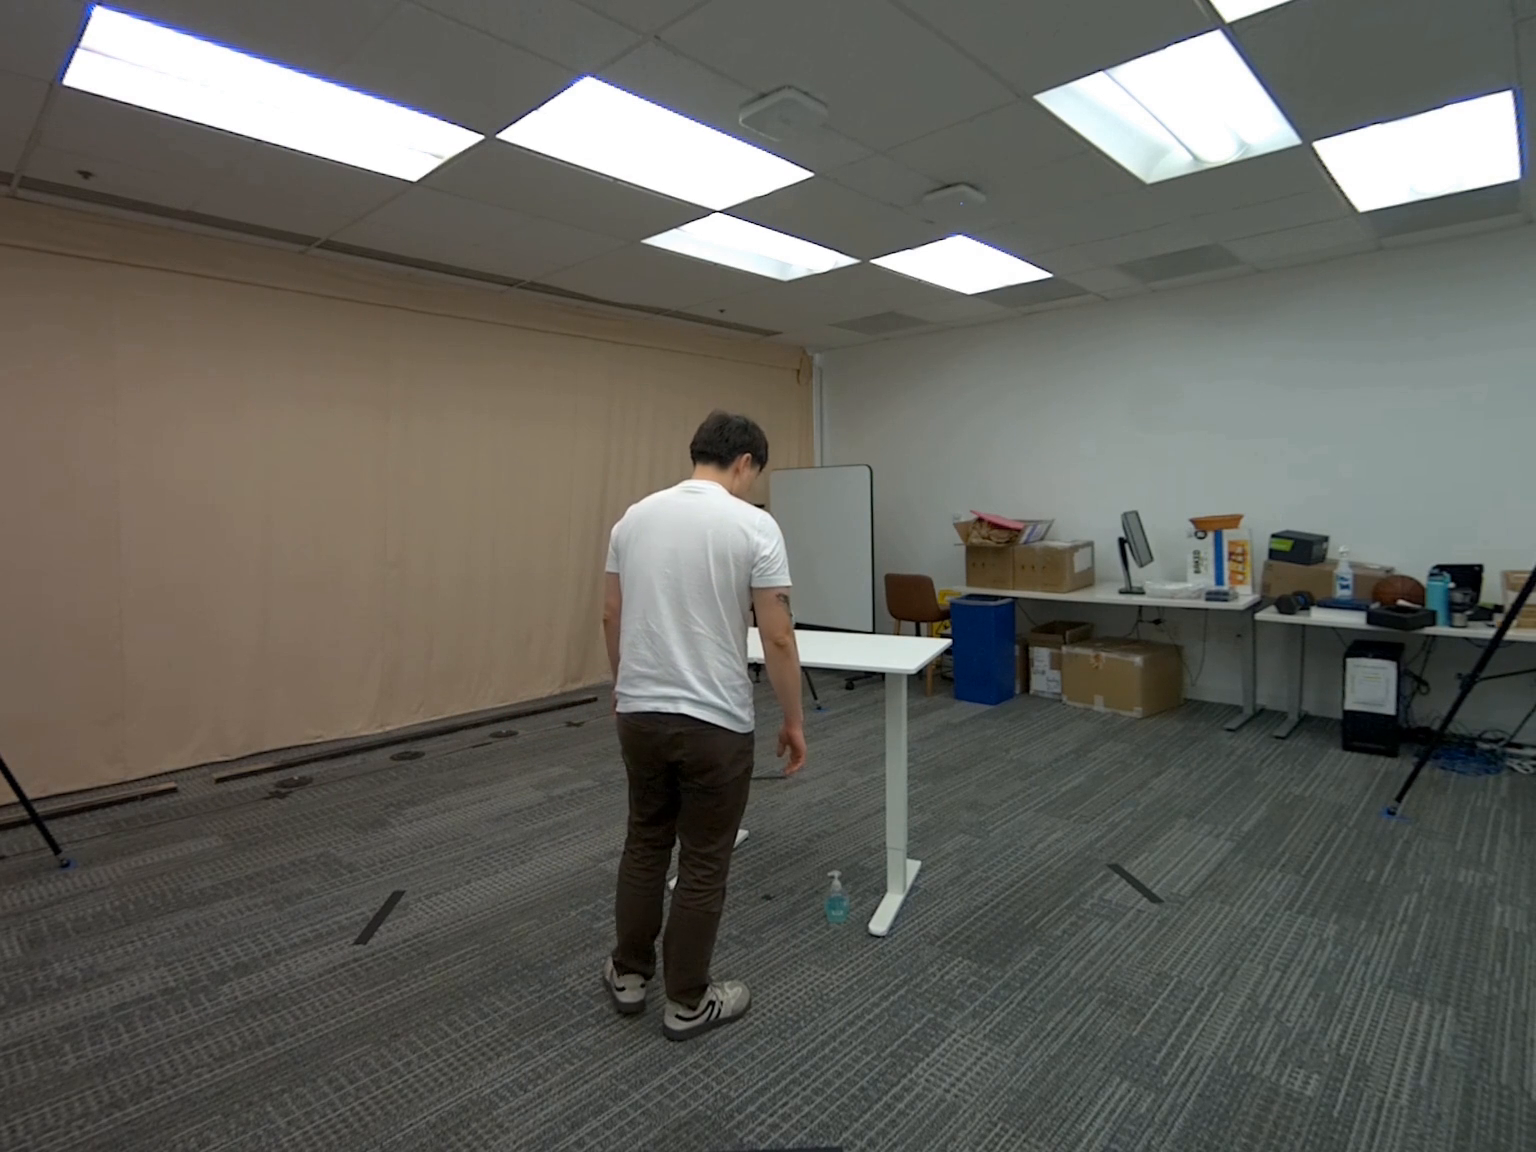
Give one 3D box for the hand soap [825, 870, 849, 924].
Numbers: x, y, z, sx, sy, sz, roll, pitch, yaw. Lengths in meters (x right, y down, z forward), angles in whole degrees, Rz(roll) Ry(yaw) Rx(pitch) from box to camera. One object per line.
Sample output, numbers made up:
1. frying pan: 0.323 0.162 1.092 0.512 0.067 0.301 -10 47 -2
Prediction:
1. hand soap: 0.232 1.070 2.803 0.084 0.168 0.044 -1 4 -6
